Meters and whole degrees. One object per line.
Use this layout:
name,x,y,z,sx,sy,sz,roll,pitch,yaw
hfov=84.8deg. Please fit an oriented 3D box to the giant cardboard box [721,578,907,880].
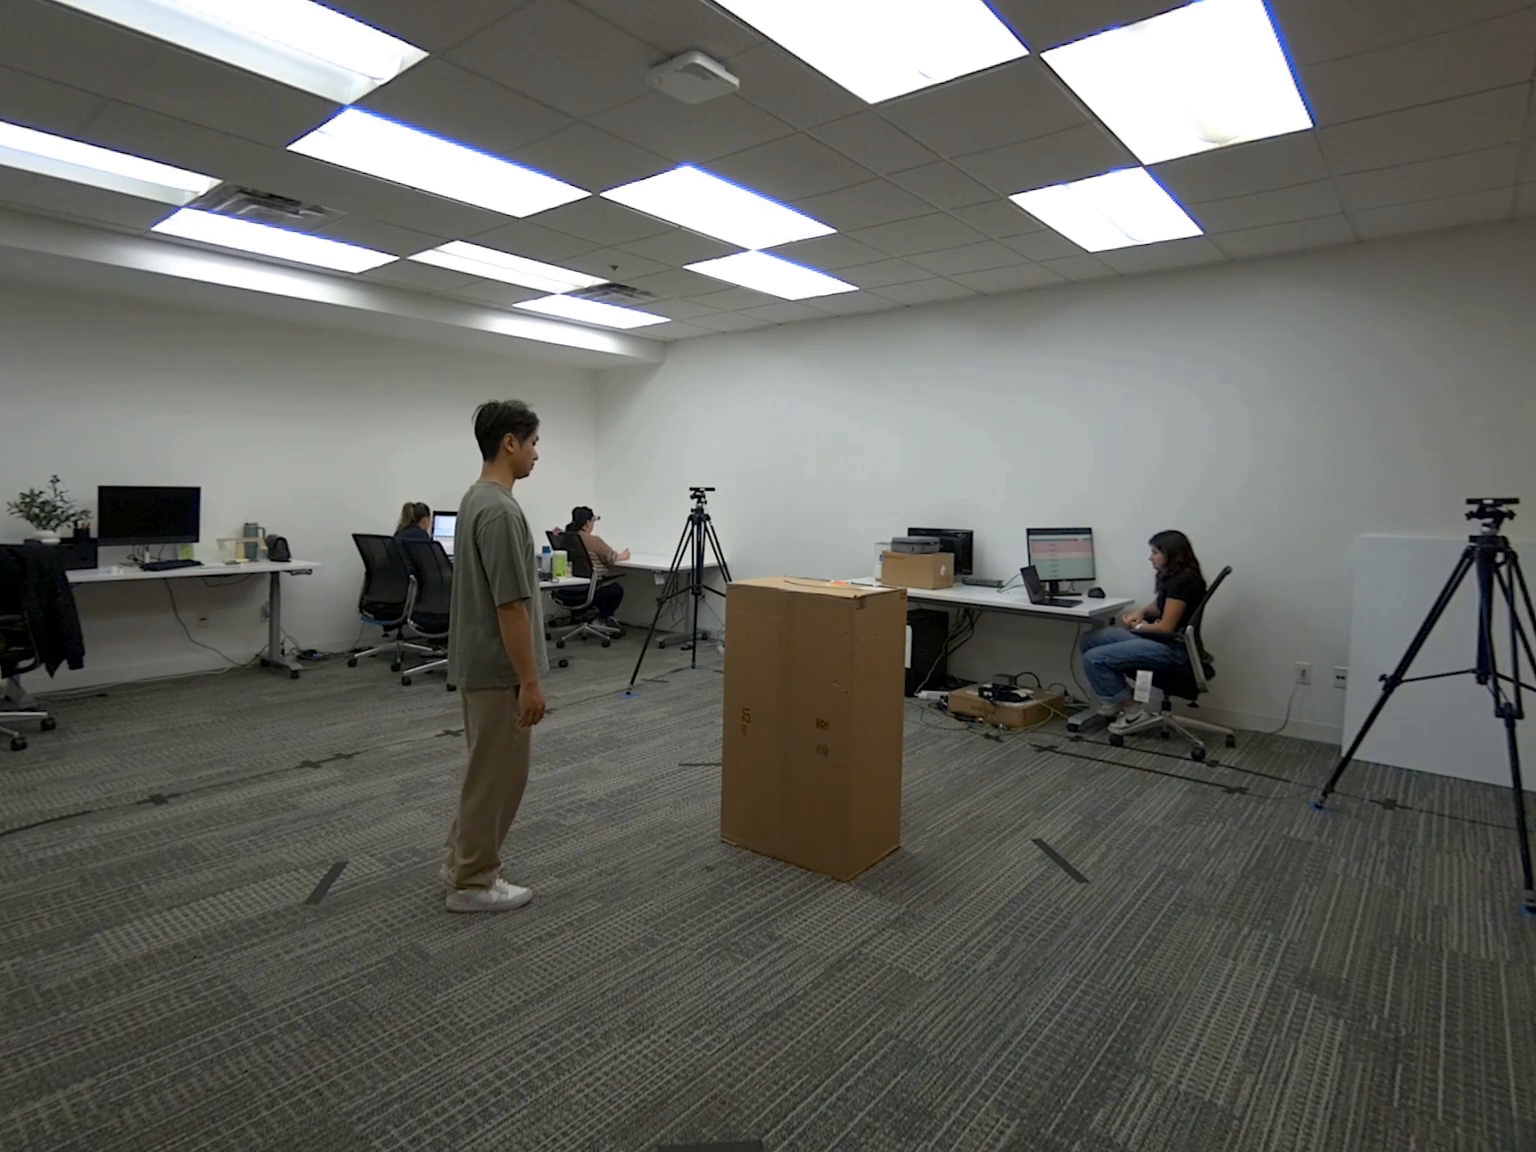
giant cardboard box,0.169,0.543,3.334,0.596,1.023,0.414,3,4,36
